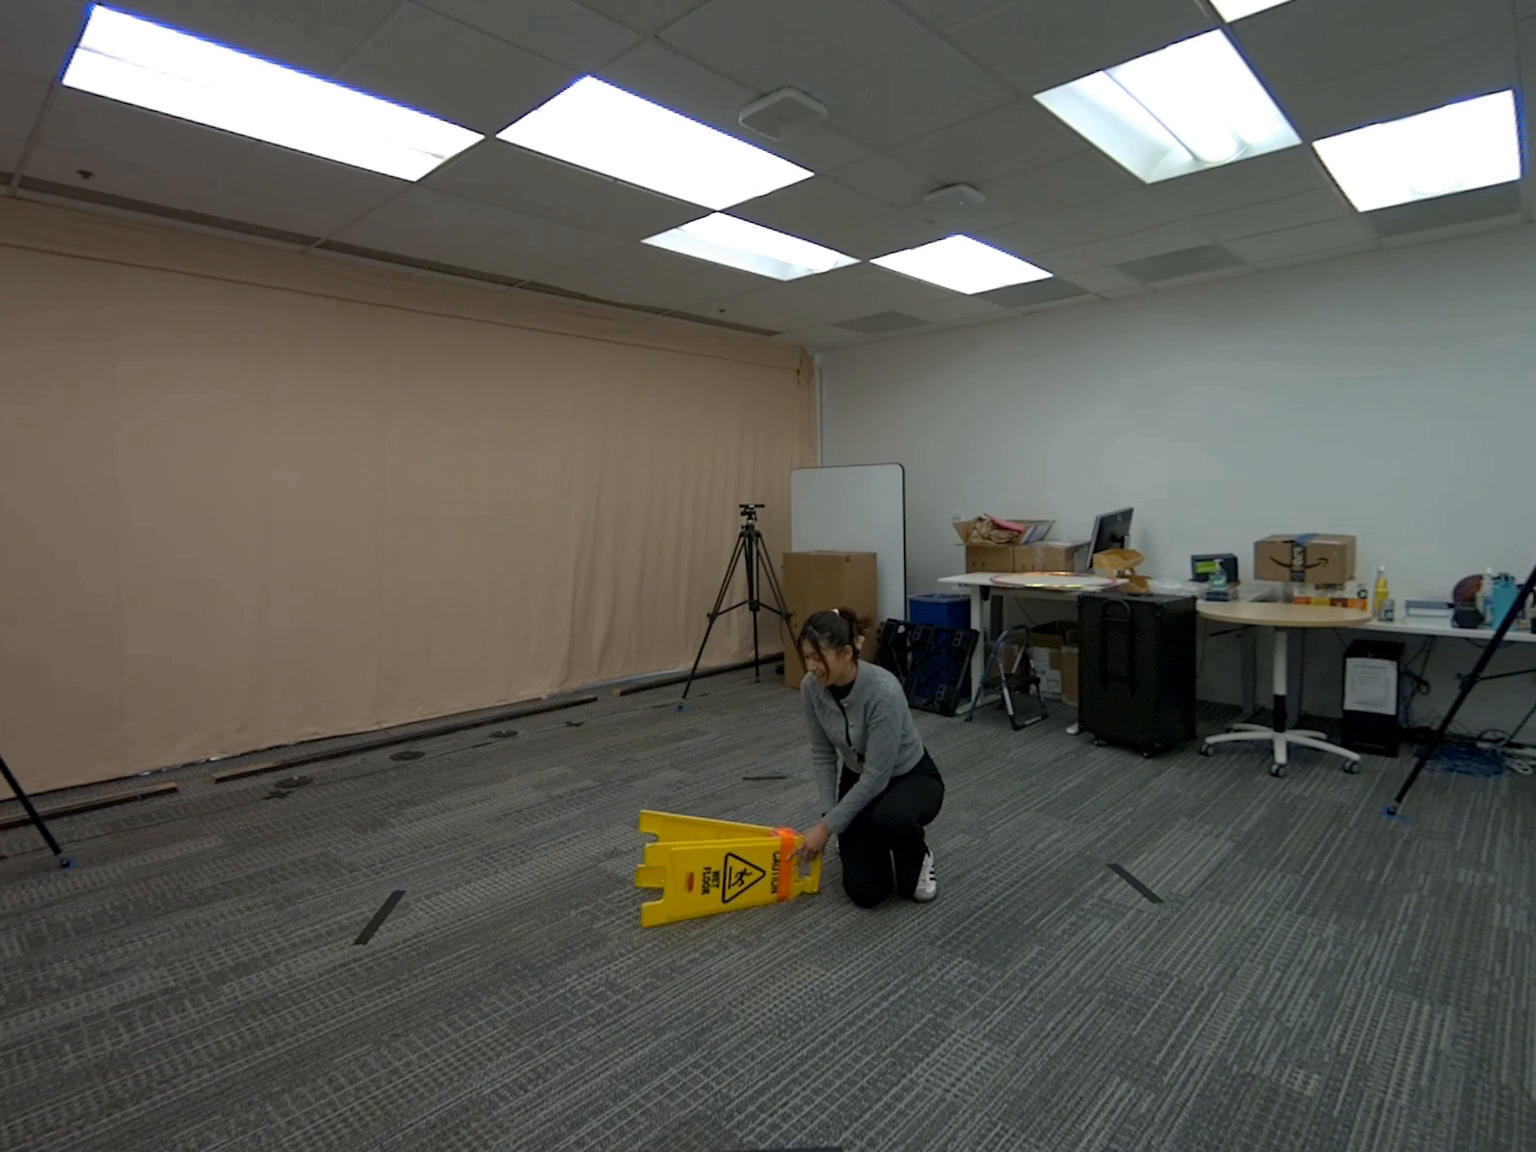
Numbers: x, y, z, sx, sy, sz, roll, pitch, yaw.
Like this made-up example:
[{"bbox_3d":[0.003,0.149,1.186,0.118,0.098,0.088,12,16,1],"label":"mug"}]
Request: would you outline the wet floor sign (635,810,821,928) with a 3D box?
[{"bbox_3d":[-0.118,1.022,2.956,0.639,0.281,0.294,2,5,-10],"label":"wet floor sign"}]
